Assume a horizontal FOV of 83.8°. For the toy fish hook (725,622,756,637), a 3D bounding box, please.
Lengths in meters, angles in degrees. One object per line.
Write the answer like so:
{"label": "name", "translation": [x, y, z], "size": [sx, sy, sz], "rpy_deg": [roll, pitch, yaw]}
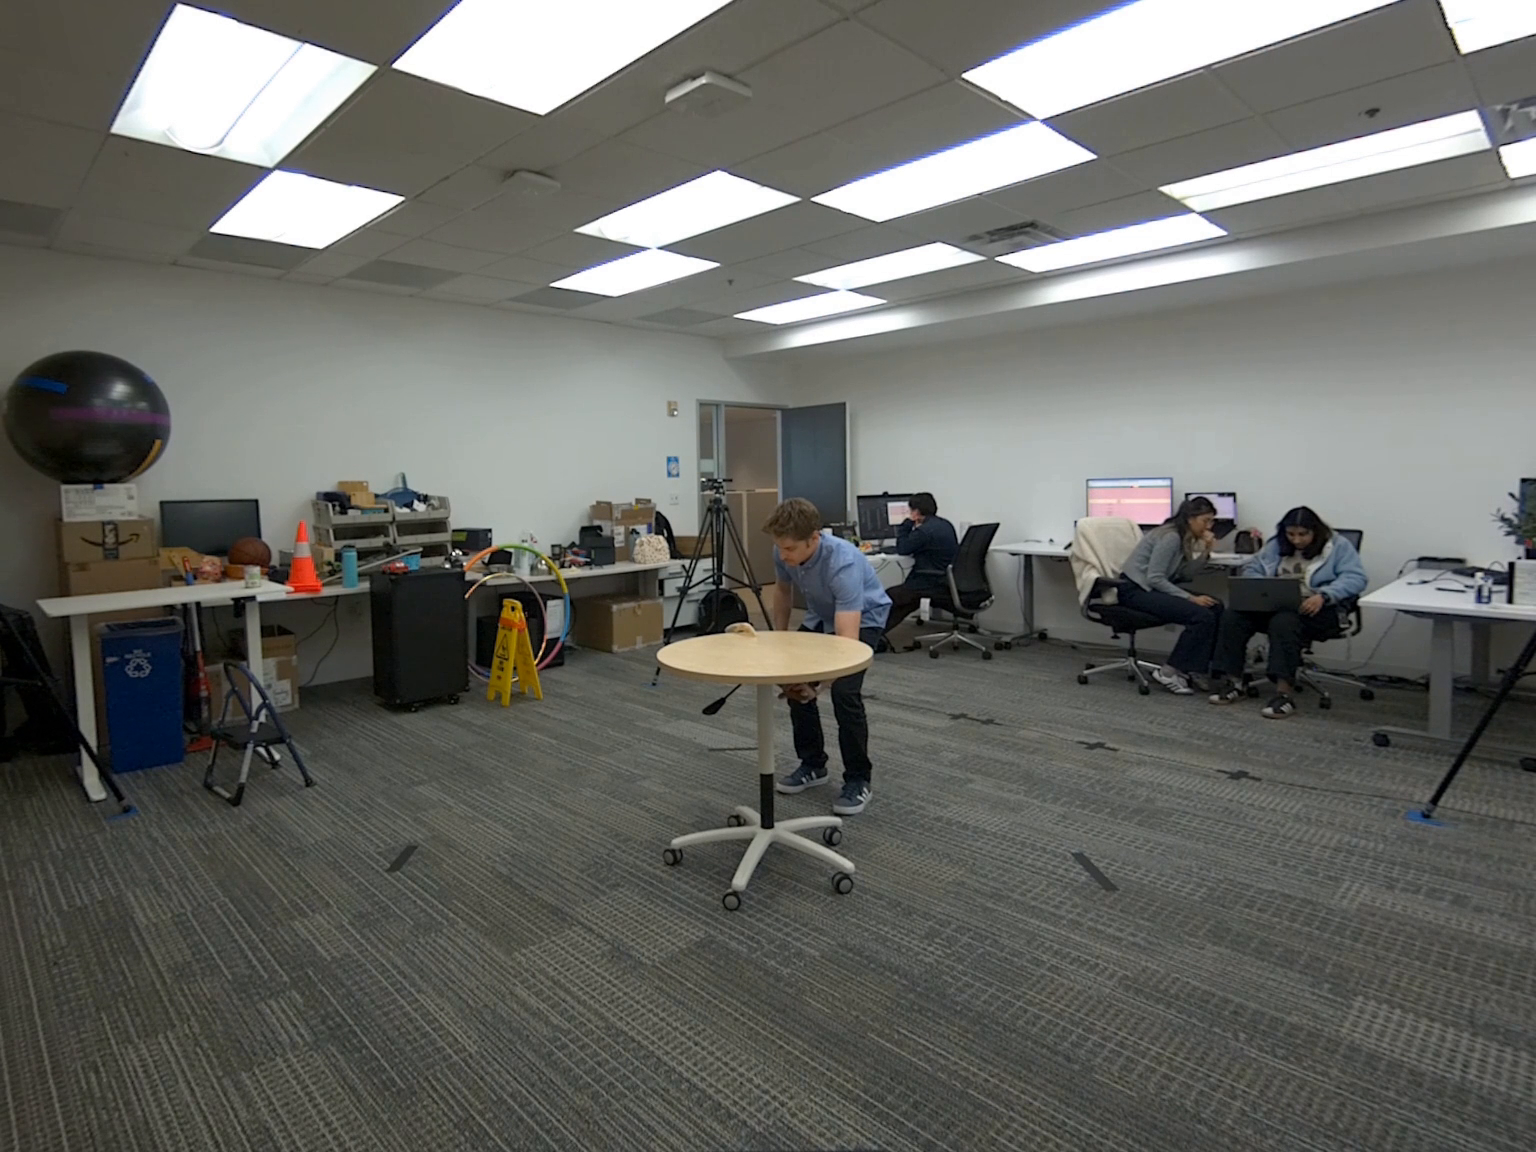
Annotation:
{"label": "toy fish hook", "translation": [-0.015, 0.328, 3.298], "size": [0.047, 0.221, 0.525], "rpy_deg": [-15, 23, -32]}
